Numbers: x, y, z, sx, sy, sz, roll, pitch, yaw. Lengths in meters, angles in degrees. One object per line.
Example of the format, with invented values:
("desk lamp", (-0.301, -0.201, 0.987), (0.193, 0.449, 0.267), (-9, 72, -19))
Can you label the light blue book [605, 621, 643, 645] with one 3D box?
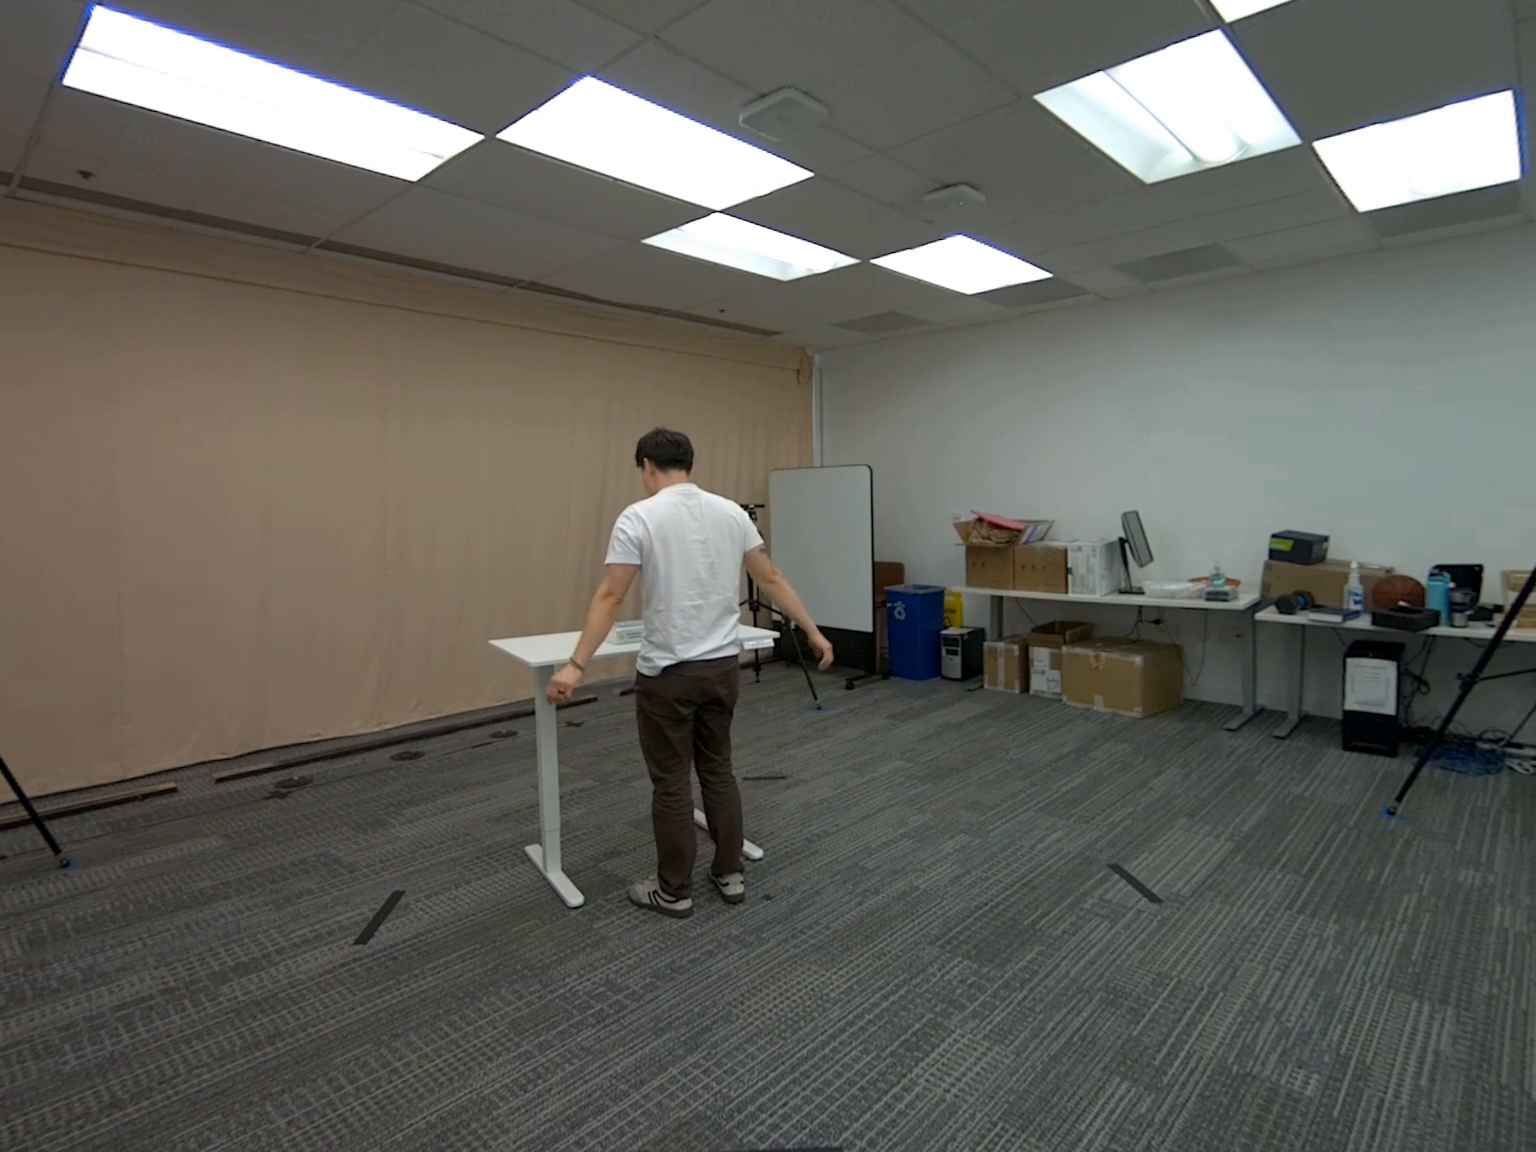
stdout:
("light blue book", (-0.531, 0.216, 3.284), (0.254, 0.059, 0.197), (-4, 6, -34))
